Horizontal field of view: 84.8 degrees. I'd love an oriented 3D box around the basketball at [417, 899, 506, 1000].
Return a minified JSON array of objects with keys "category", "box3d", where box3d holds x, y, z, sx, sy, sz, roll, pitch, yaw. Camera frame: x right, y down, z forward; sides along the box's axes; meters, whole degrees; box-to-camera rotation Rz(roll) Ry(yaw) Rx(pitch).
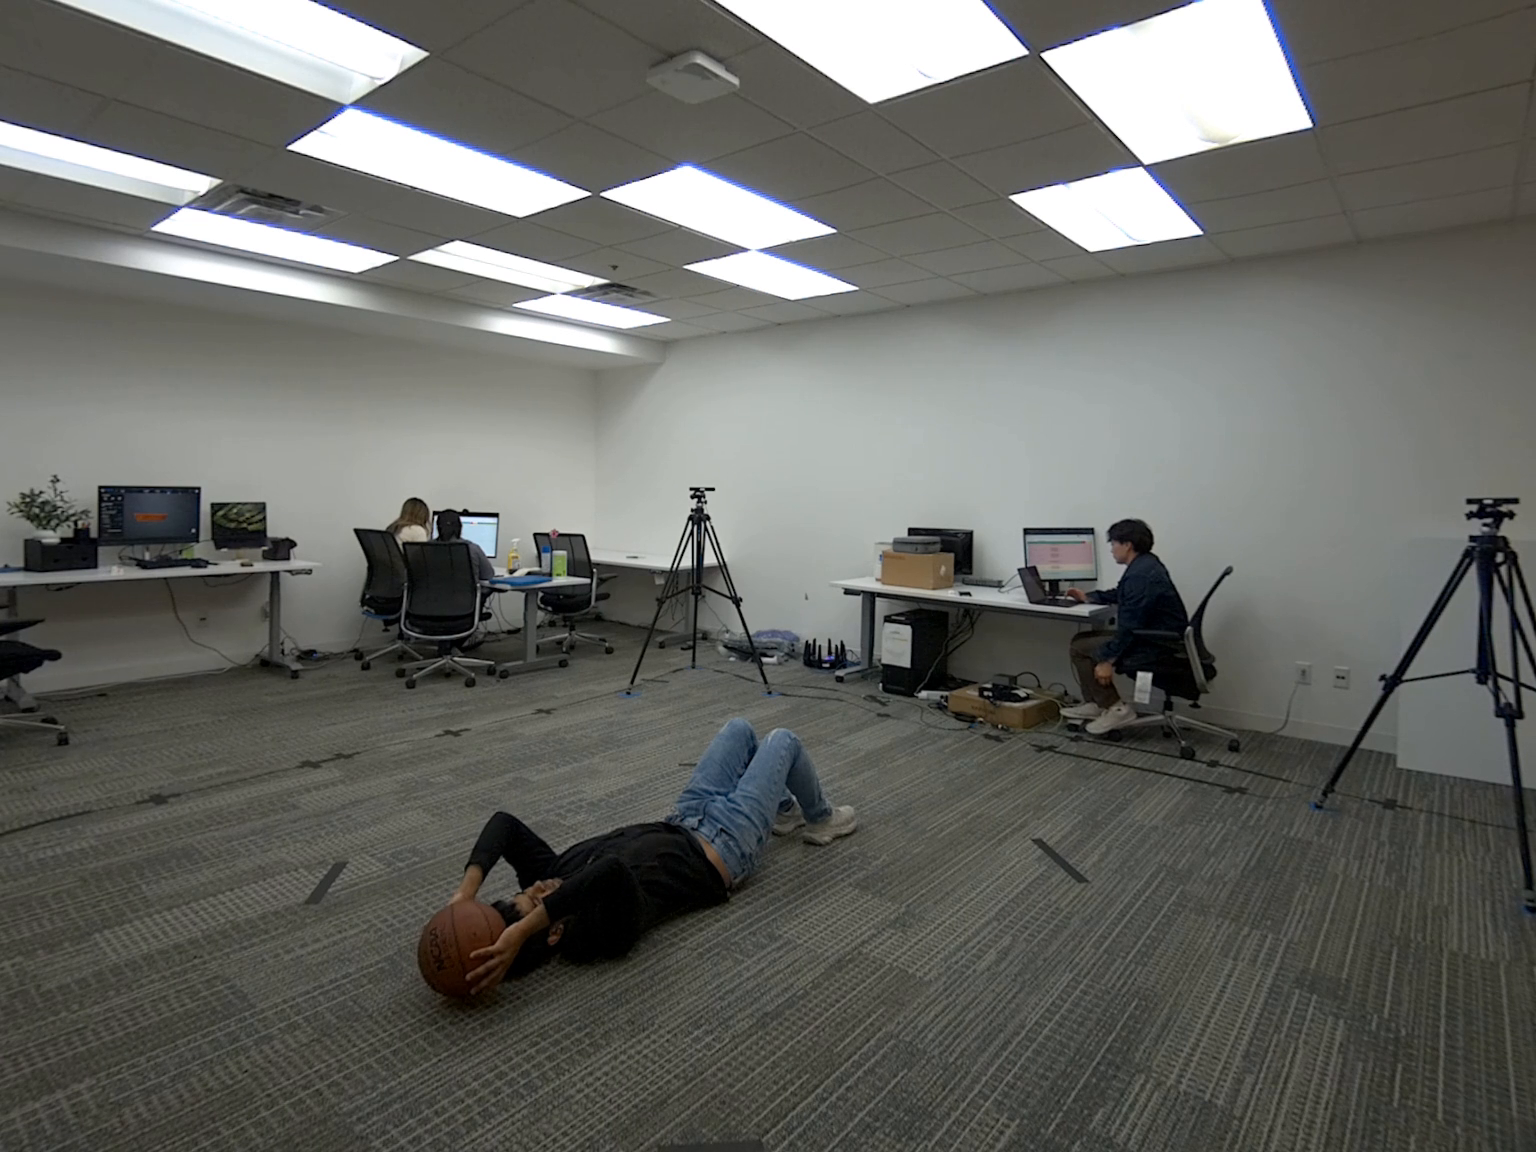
[{"category":"basketball","box3d":[-0.830,0.989,2.305,0.235,0.235,0.237,1,4,-2]}]
